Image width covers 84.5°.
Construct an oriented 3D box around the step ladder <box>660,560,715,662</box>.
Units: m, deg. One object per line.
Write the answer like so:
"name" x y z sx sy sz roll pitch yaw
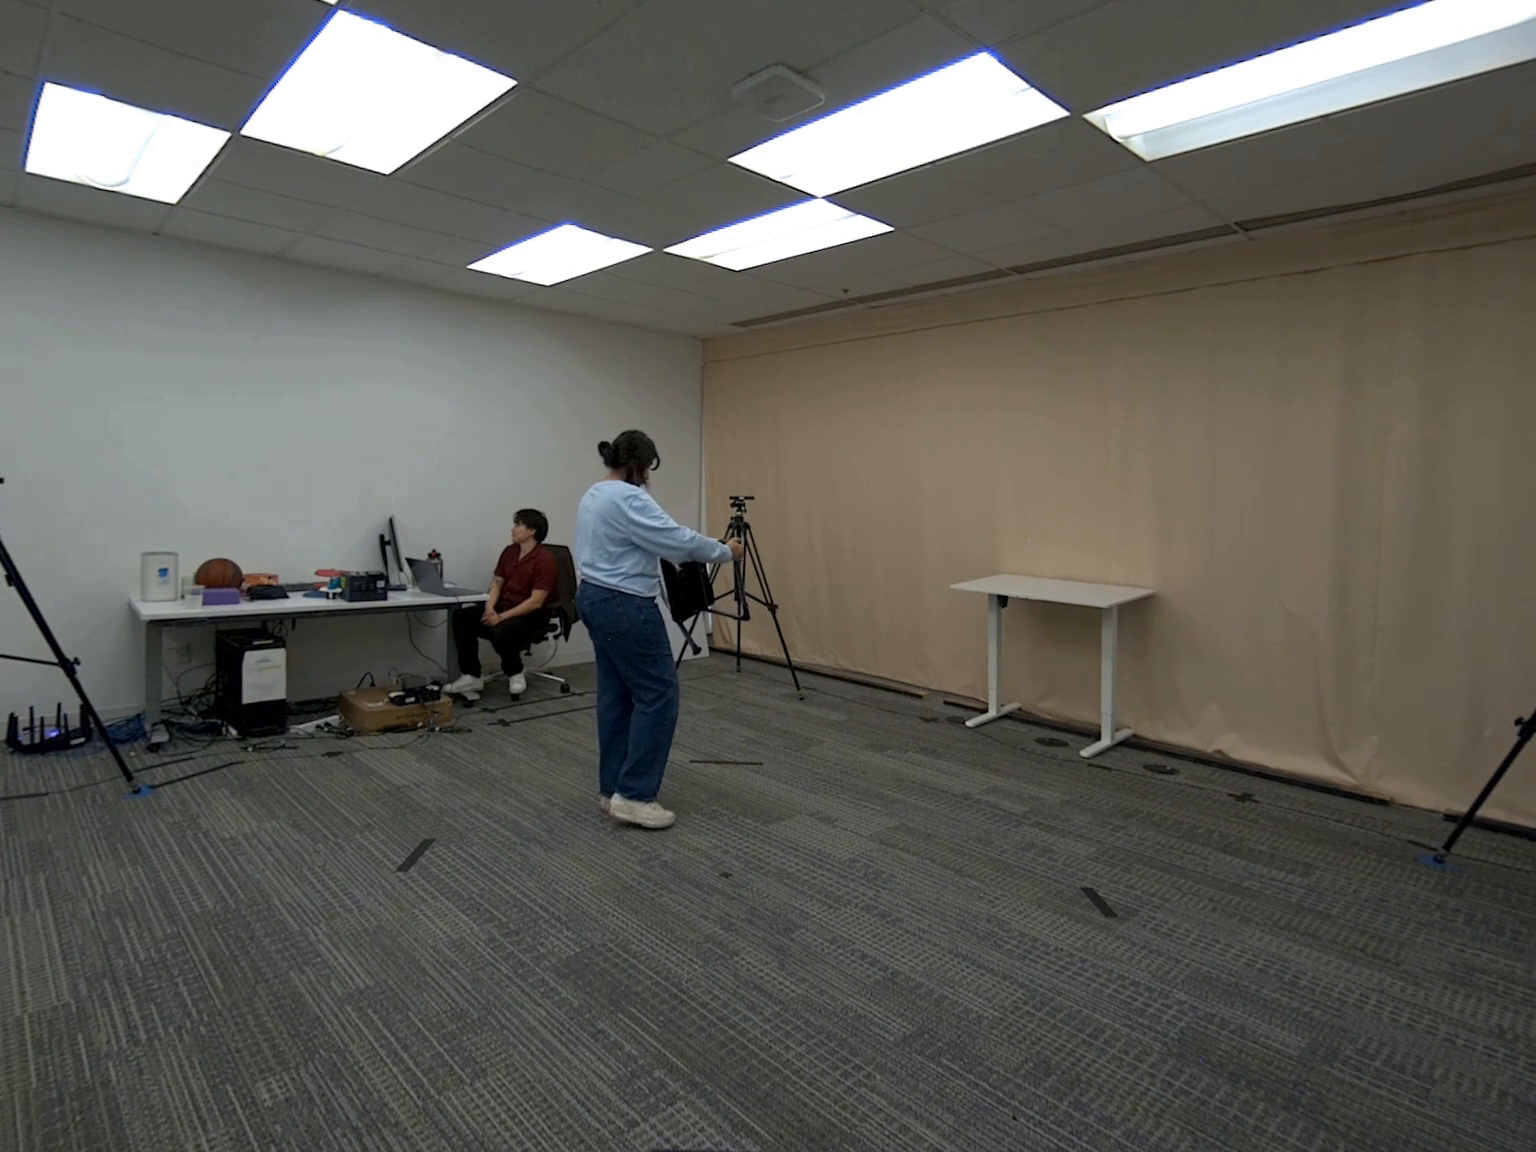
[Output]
"step ladder" -0.434 0.018 3.945 0.345 0.422 0.624 -27 32 -34
